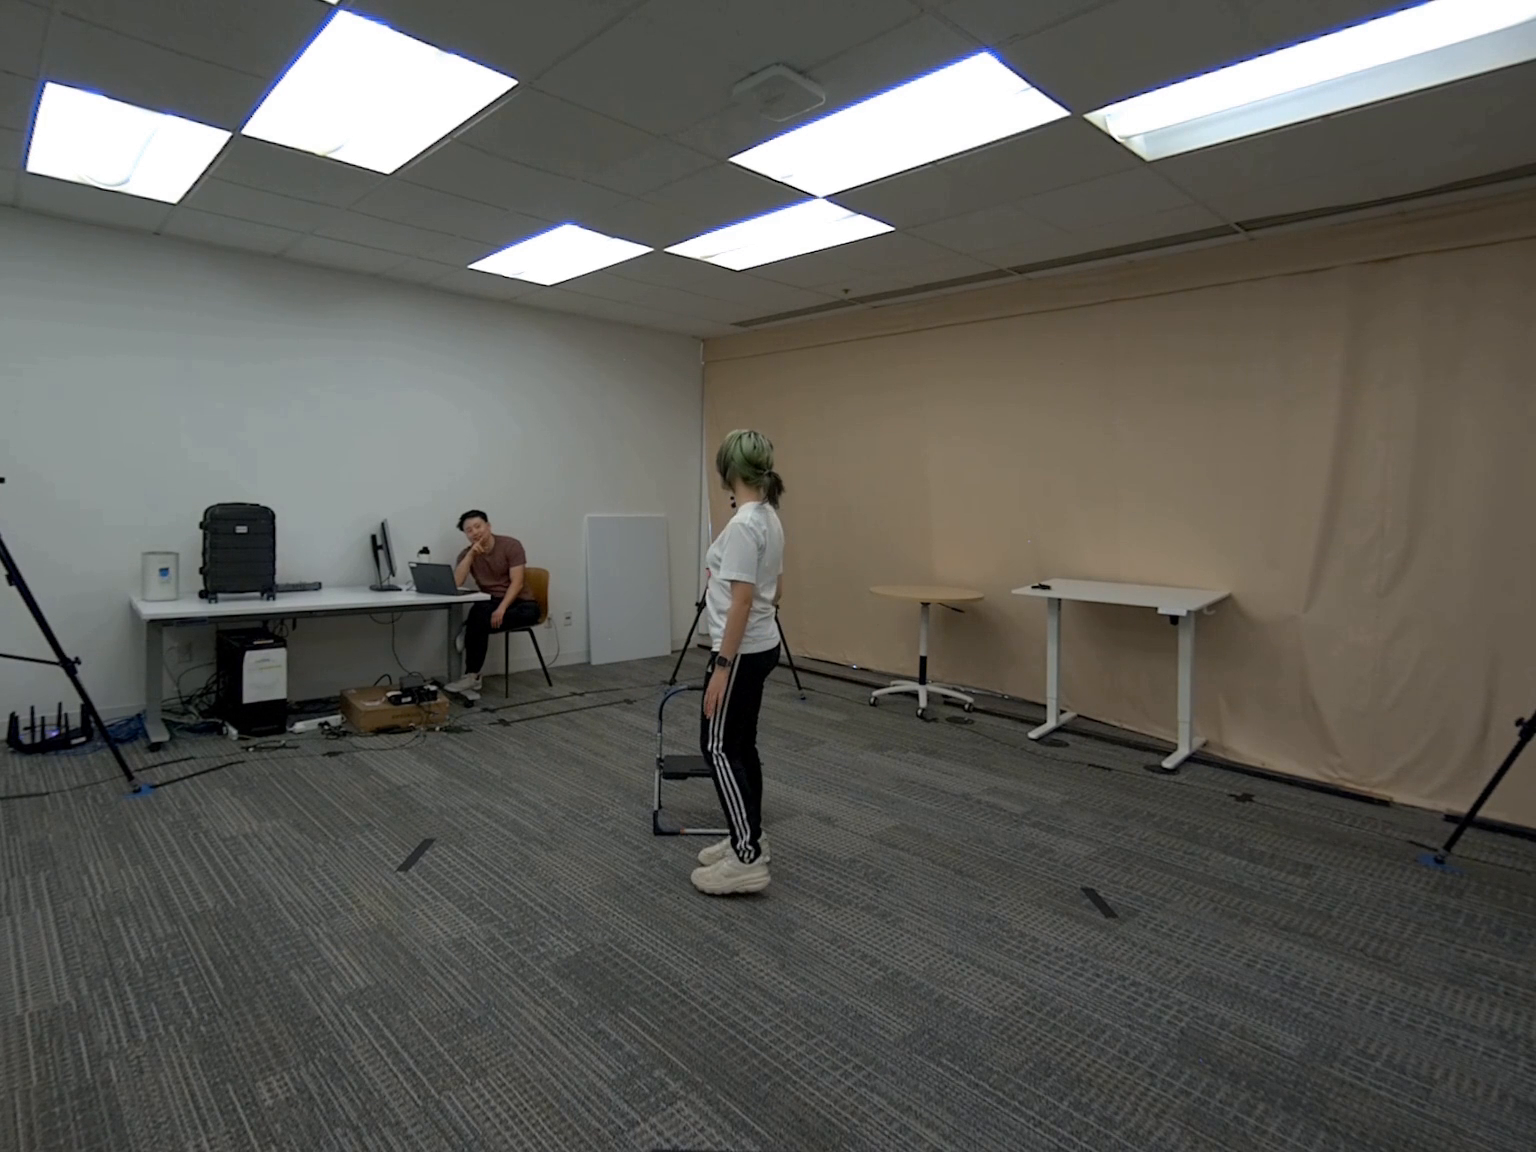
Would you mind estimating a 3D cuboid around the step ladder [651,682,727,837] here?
[{"bbox_3d":[-0.282,0.755,3.611,0.429,0.604,0.351,1,4,-5],"label":"step ladder"}]
